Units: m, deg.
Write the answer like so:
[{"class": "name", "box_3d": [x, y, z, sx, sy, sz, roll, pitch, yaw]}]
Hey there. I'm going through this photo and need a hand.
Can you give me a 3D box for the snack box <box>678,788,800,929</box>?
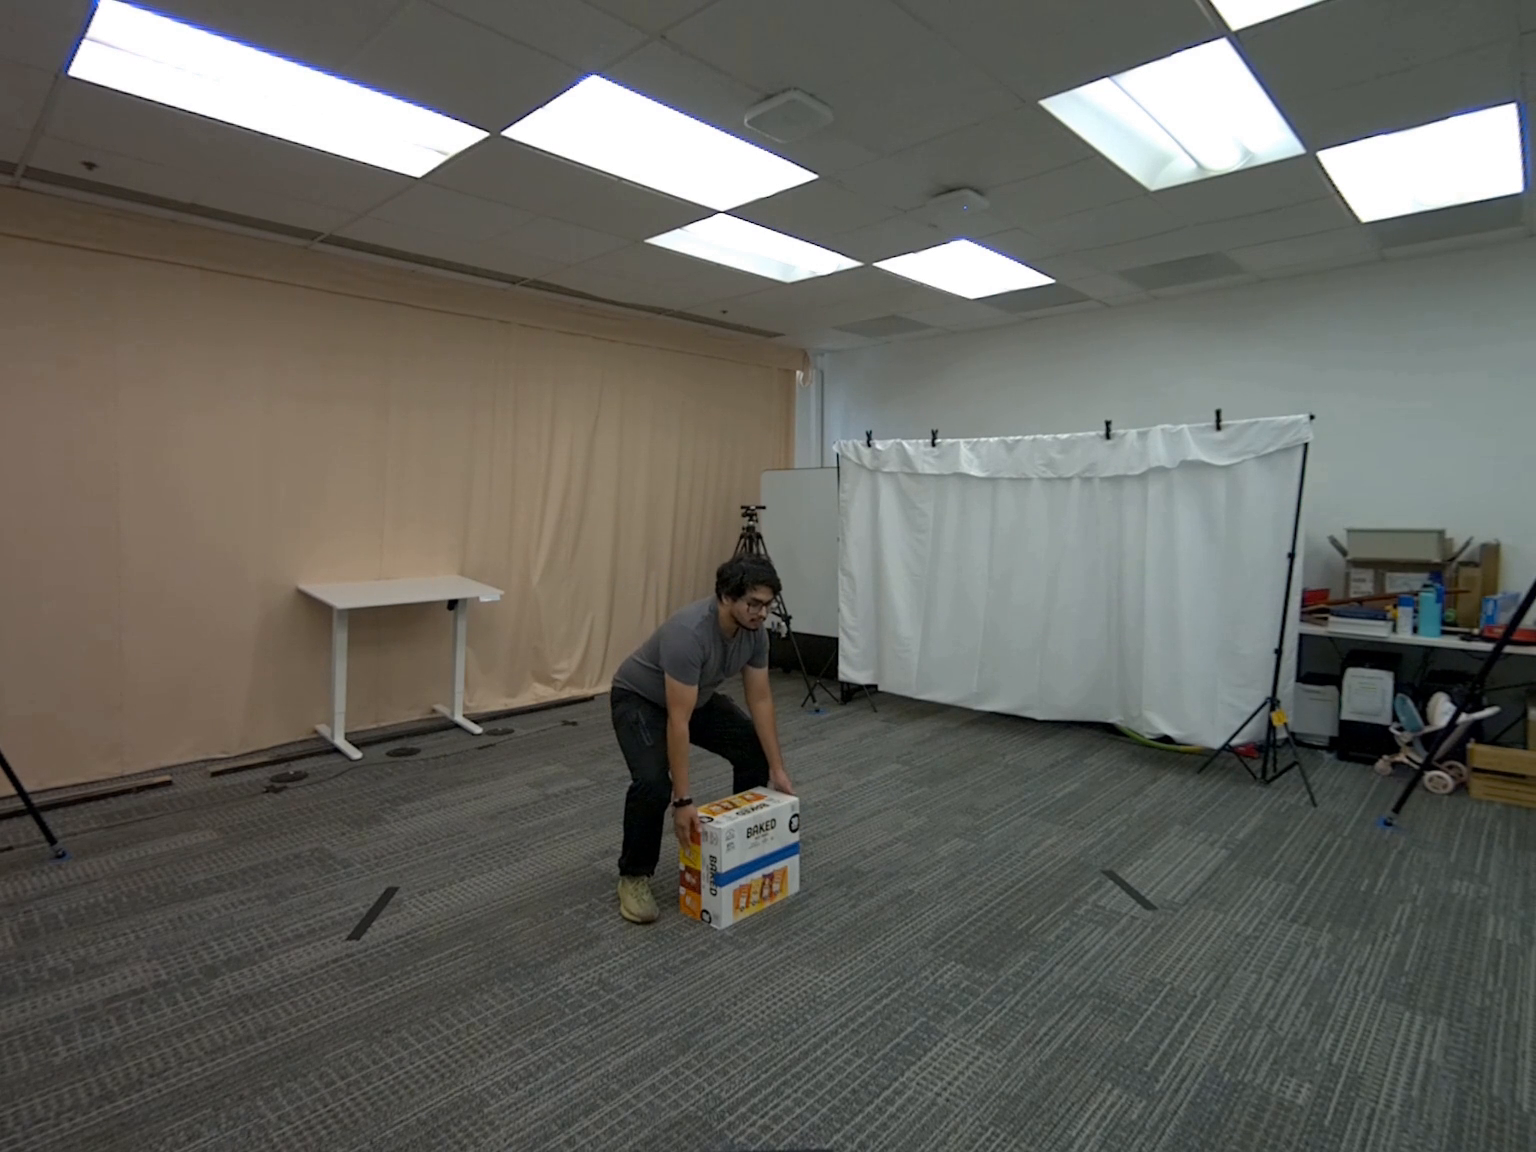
[{"class": "snack box", "box_3d": [-0.094, 0.977, 2.964, 0.212, 0.340, 0.393, 2, 4, 44]}]
